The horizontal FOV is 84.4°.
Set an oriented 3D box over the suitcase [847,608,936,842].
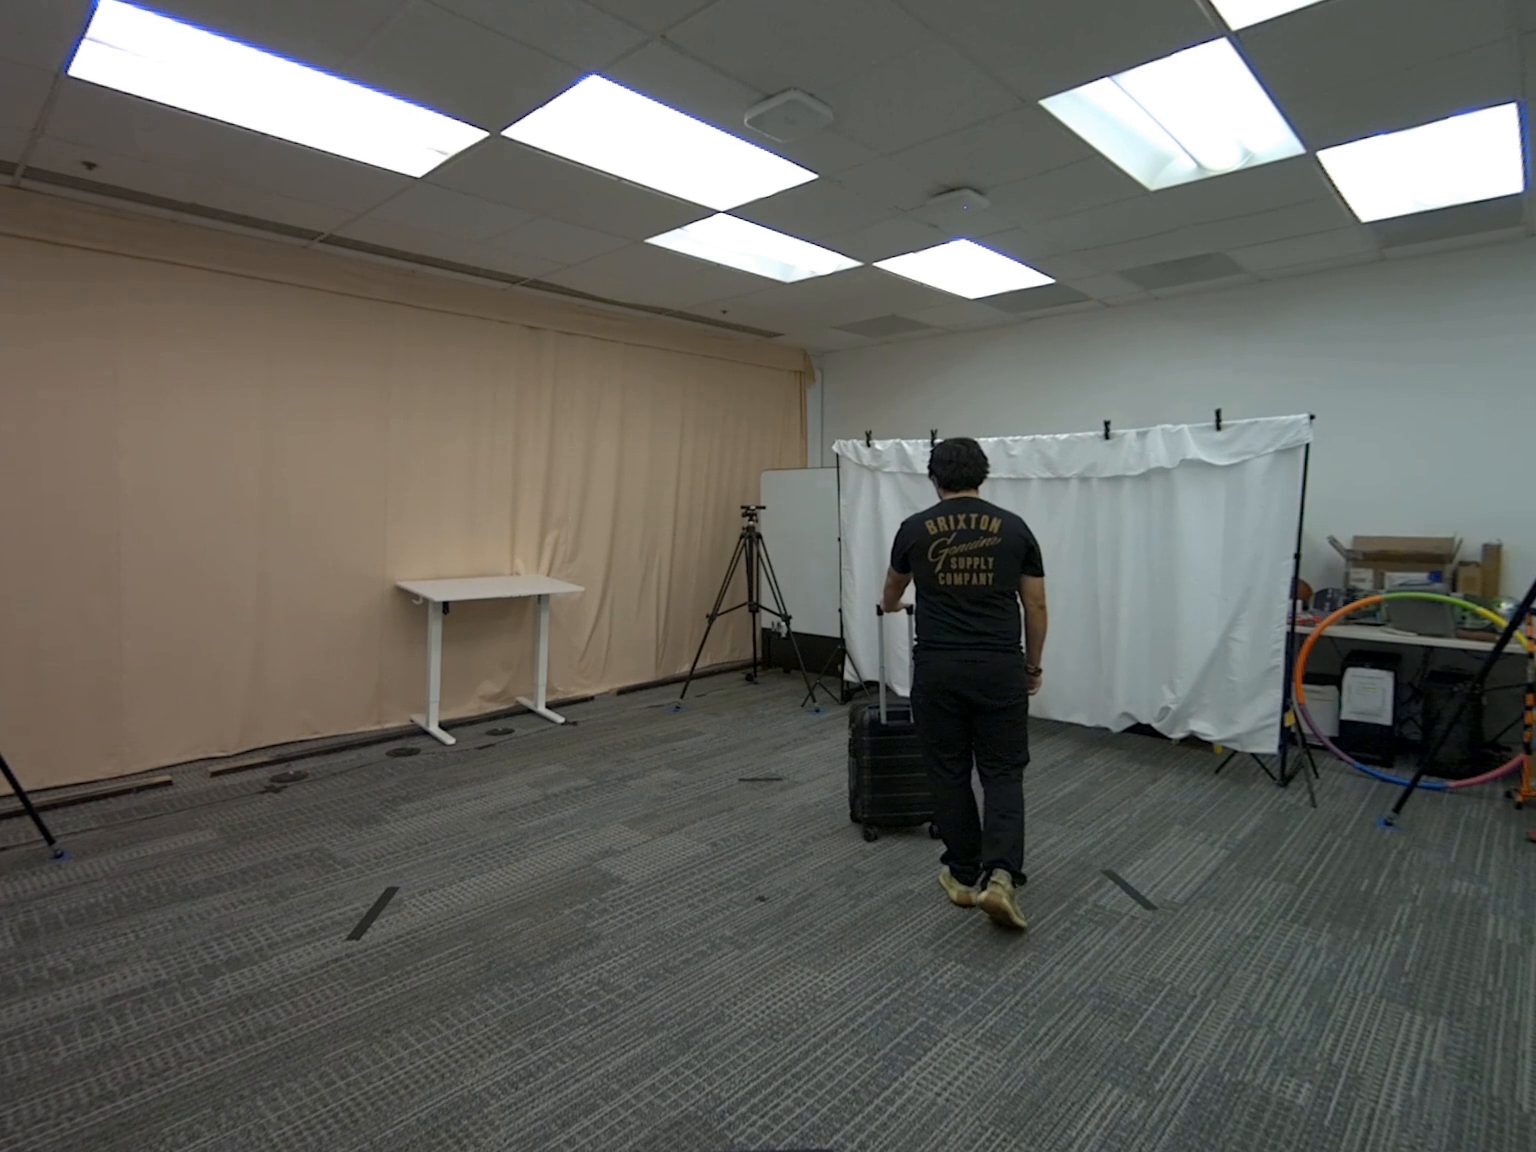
[{"bbox_3d":[0.534,0.608,3.631,0.382,0.980,0.258,-1,-2,-4],"label":"suitcase"}]
